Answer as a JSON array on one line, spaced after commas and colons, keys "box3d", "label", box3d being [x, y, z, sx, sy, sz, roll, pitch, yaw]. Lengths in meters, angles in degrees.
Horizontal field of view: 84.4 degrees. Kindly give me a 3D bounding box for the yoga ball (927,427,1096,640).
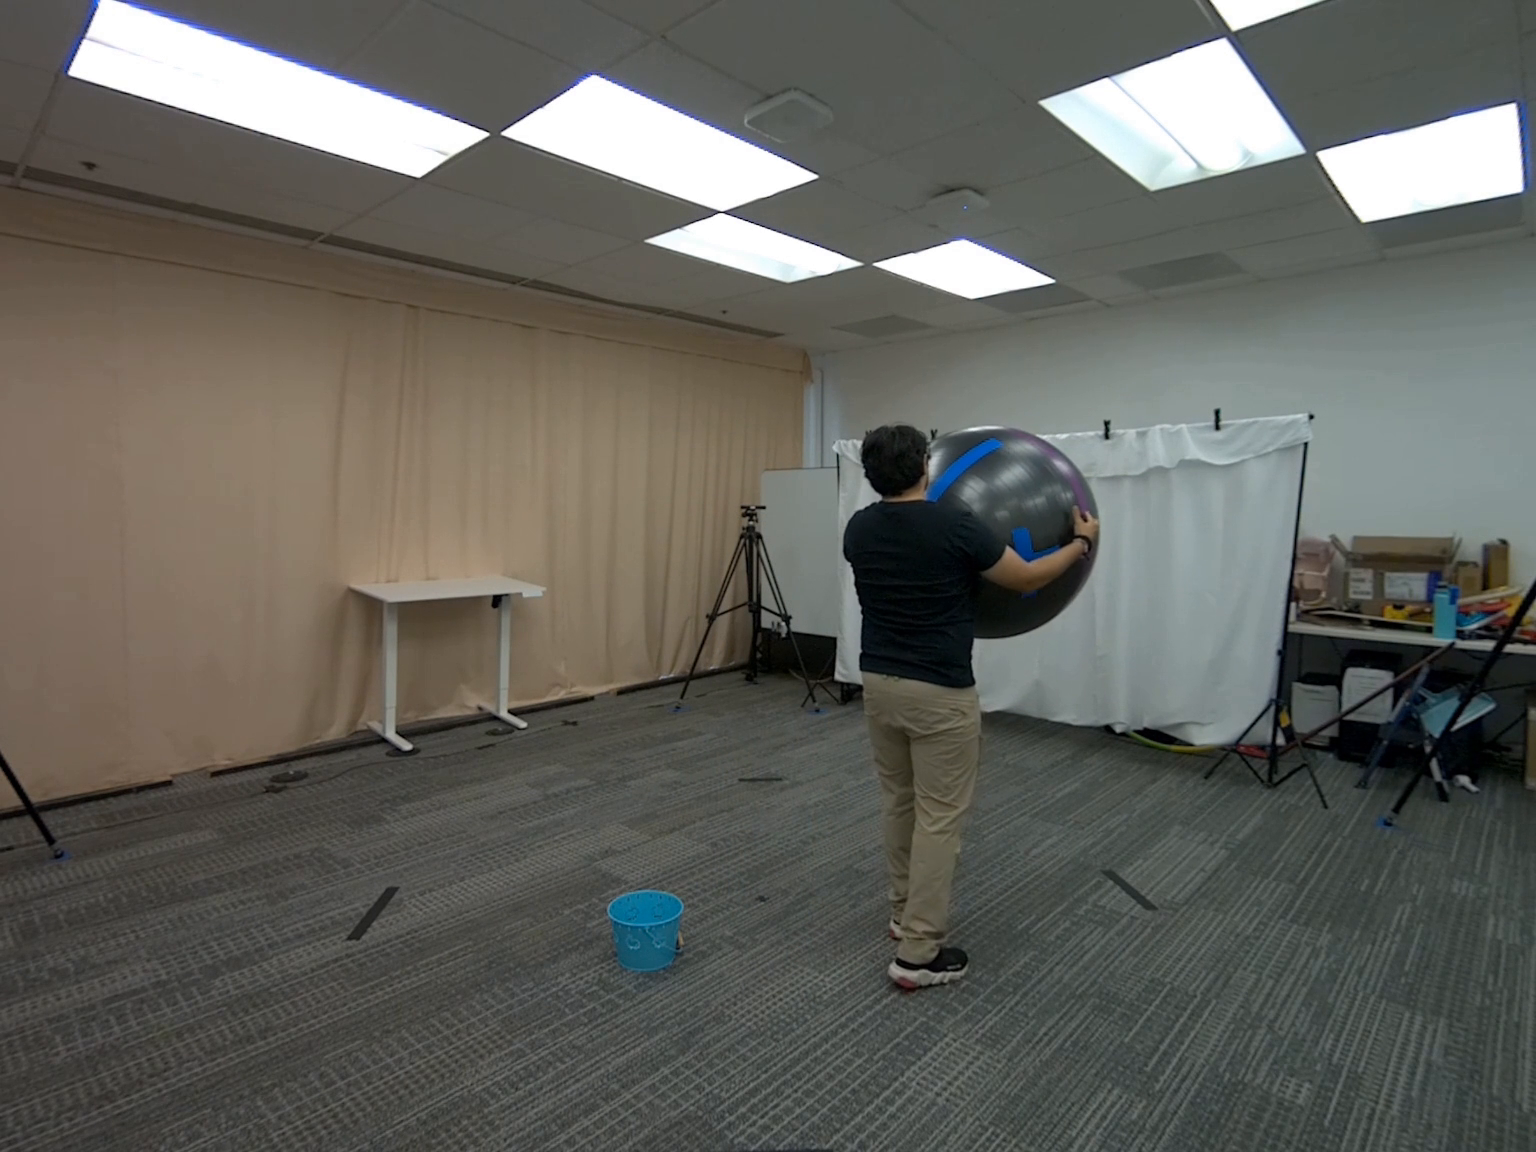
[{"box3d": [0.795, -0.143, 3.021, 0.757, 0.756, 0.760, 0, 4, -2], "label": "yoga ball"}]
